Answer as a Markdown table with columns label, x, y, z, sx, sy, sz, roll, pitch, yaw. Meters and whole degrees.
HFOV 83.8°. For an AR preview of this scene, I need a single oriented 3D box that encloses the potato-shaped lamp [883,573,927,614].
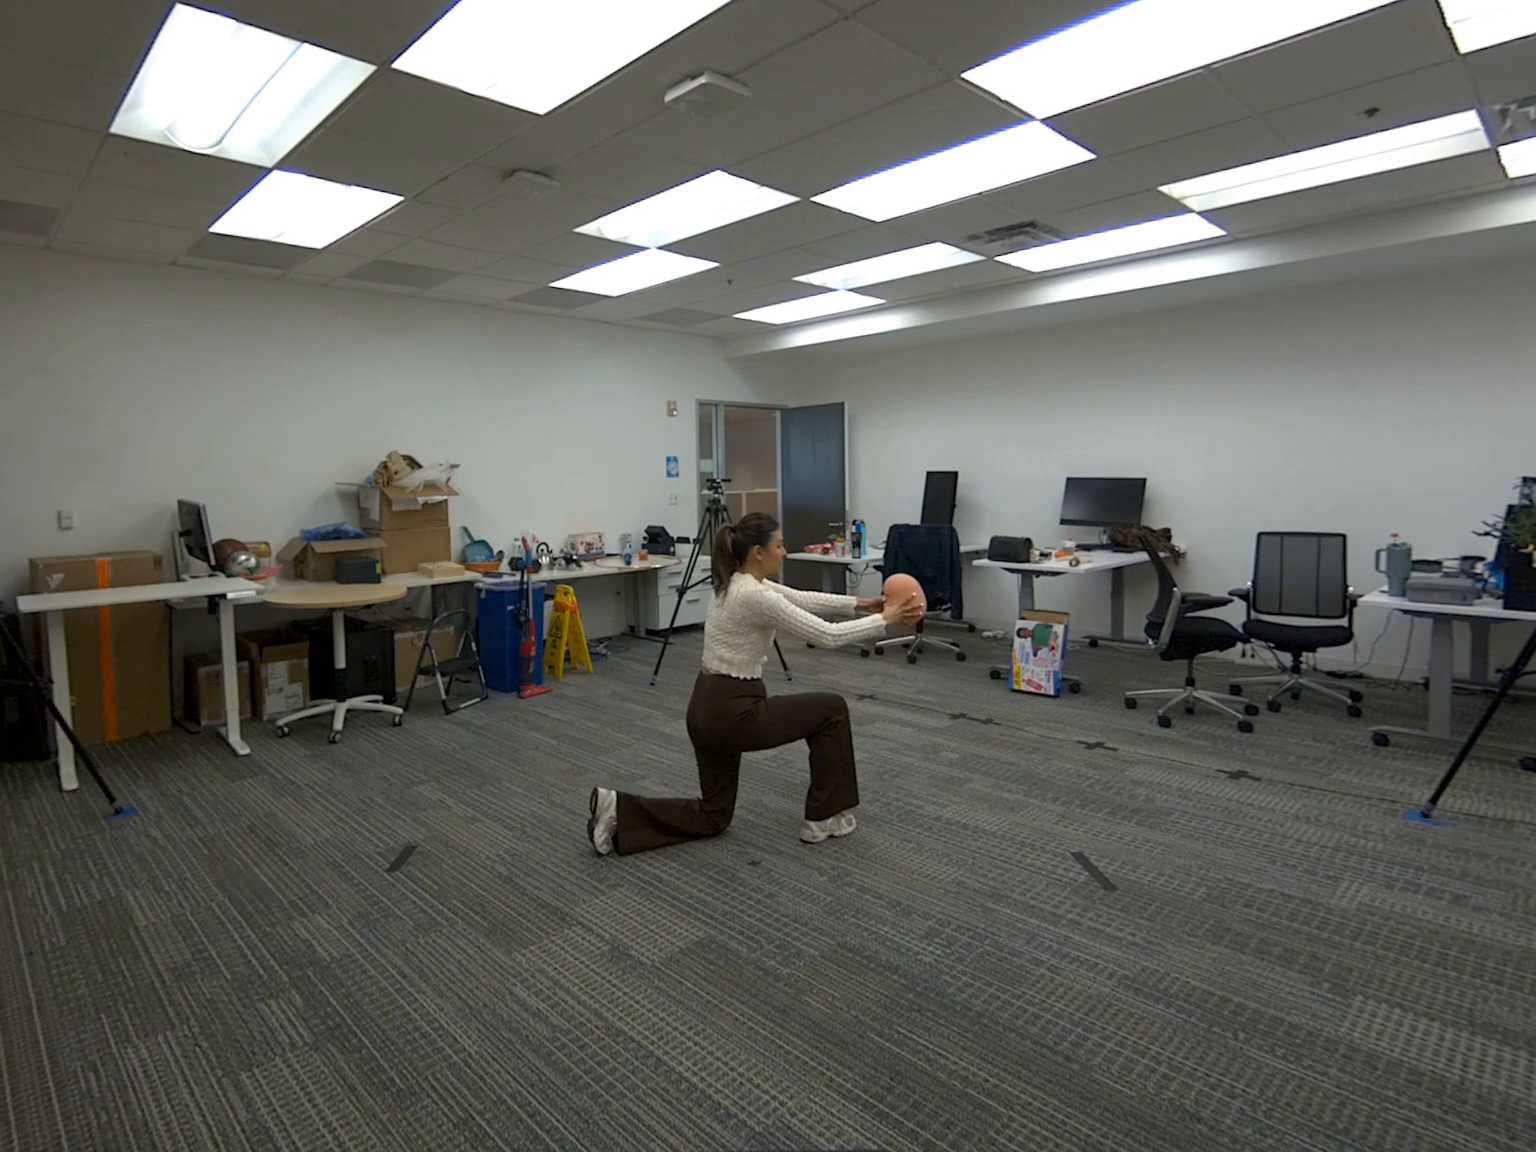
| label | x | y | z | sx | sy | sz | roll | pitch | yaw |
| --- | --- | --- | --- | --- | --- | --- | --- | --- | --- |
| potato-shaped lamp | 0.523 | 0.093 | 3.374 | 0.172 | 0.196 | 0.165 | -23 | 8 | 9 |
